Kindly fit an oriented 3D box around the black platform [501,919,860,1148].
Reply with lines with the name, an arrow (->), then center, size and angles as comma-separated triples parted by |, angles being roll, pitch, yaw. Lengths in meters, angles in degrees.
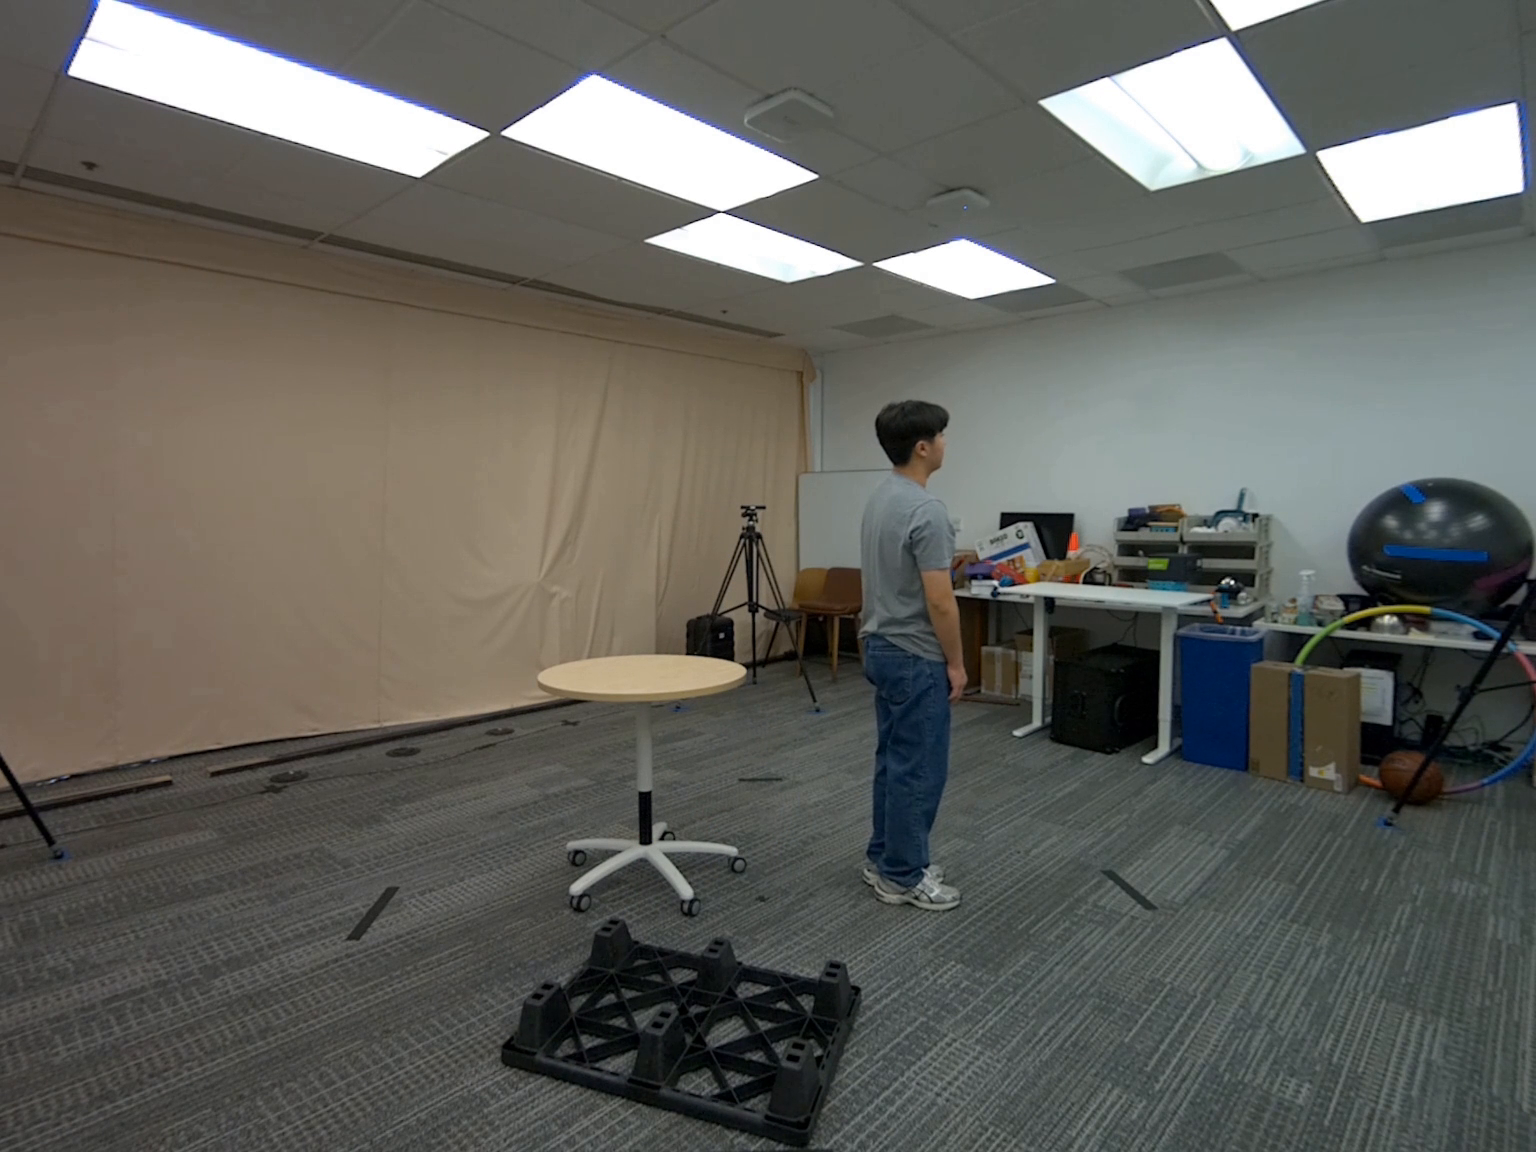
black platform -> -0.194, 1.144, 2.230 | 0.823, 0.143, 0.594 | 2, 5, 20
